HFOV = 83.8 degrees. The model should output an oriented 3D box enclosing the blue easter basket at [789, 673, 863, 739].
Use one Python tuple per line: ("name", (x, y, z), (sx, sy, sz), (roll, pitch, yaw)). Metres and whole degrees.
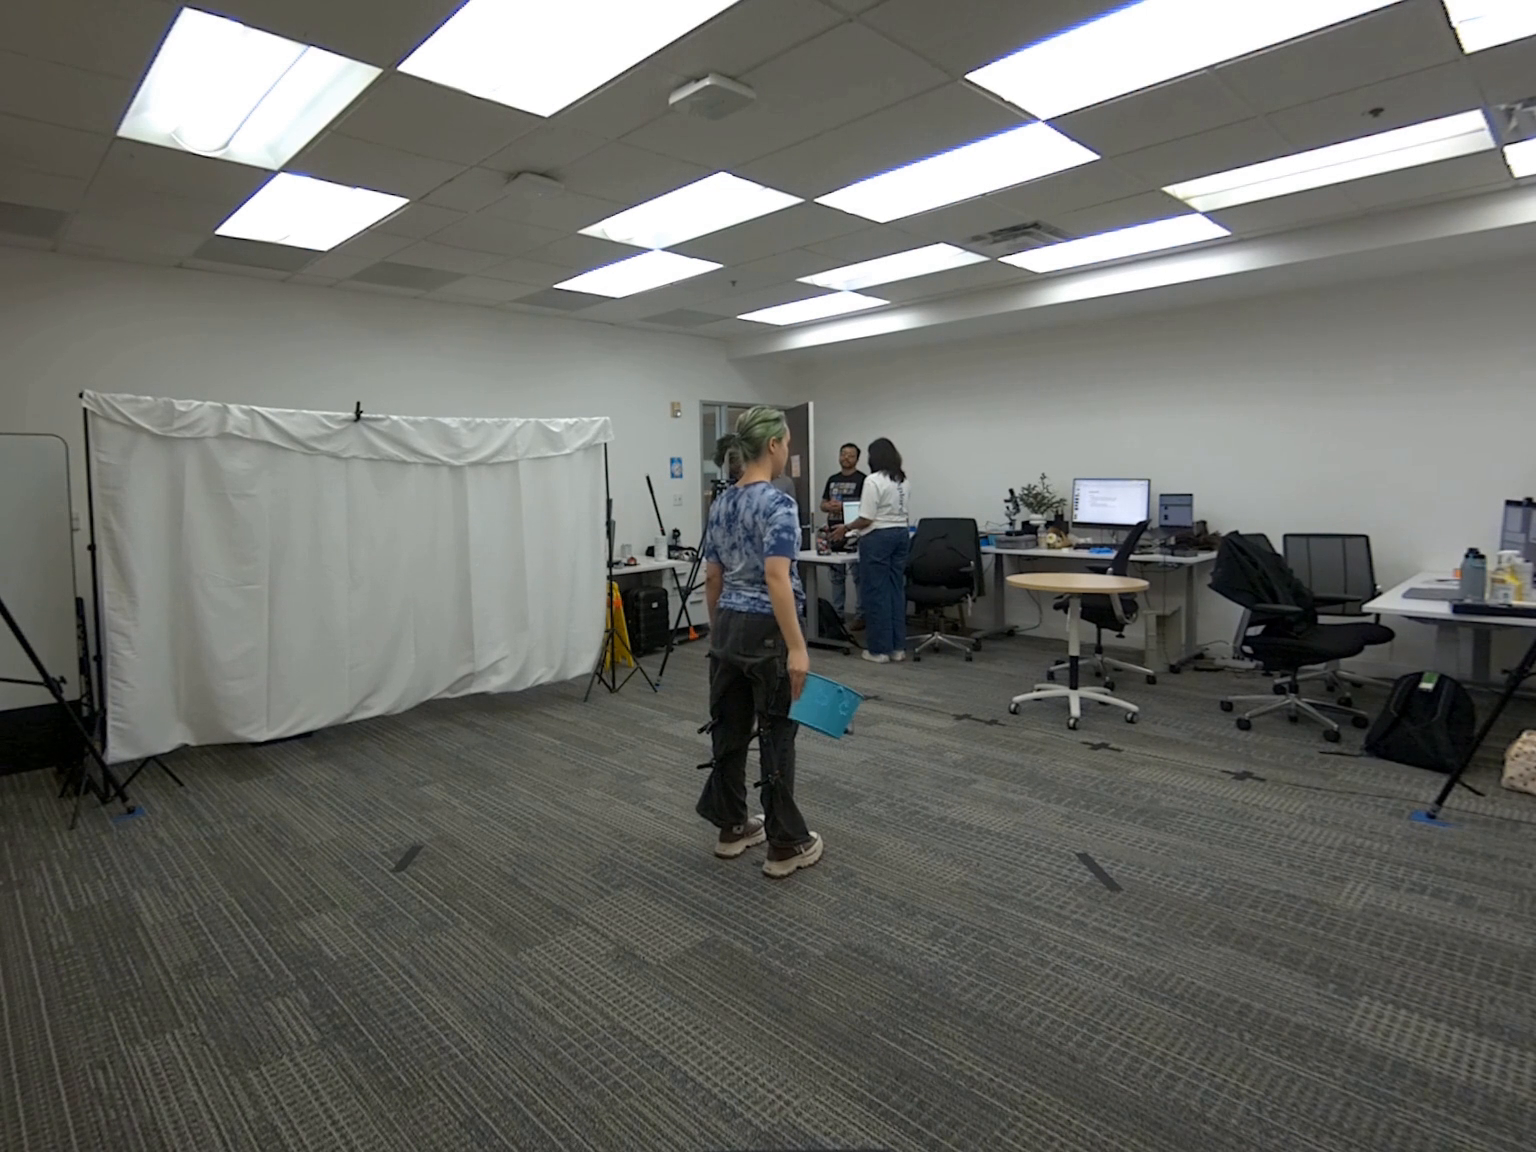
("blue easter basket", (0.186, 0.418, 2.761), (0.245, 0.157, 0.241), (21, -10, 2))
